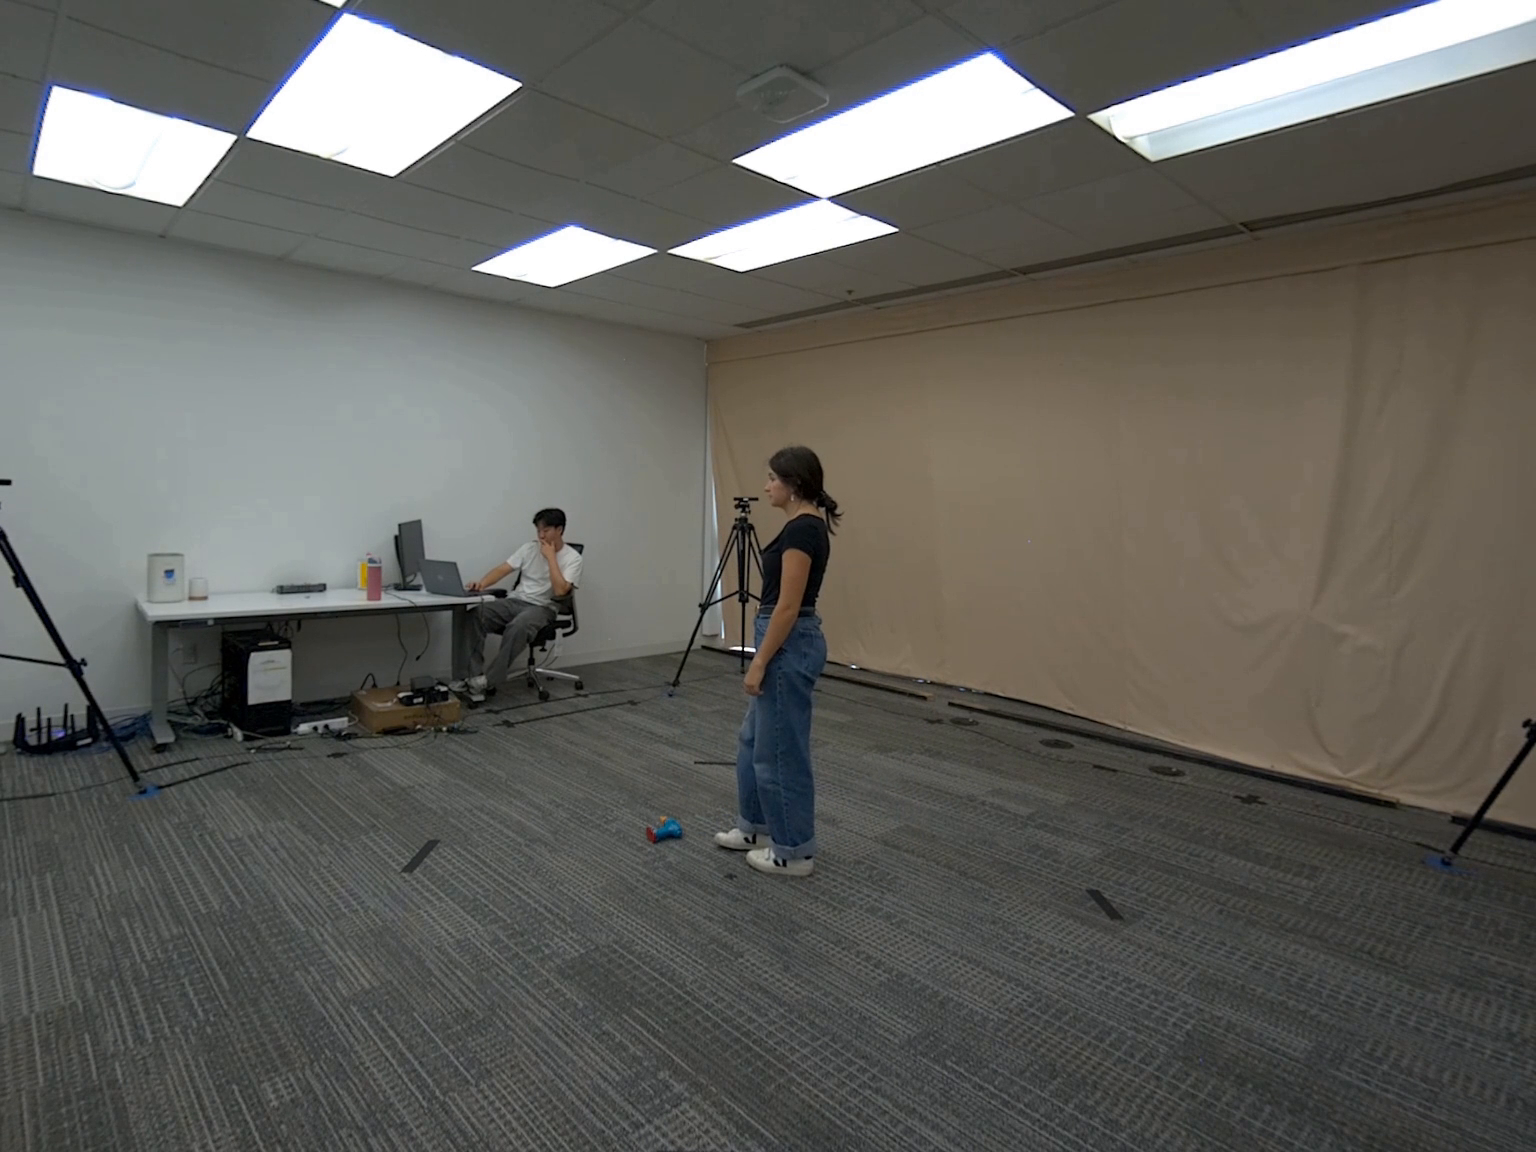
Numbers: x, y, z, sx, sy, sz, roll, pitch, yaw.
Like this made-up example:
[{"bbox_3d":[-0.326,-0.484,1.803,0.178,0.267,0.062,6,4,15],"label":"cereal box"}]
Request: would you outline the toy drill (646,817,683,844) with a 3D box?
[{"bbox_3d":[-0.442,1.034,3.475,0.143,0.061,0.174,-3,13,-32],"label":"toy drill"}]
